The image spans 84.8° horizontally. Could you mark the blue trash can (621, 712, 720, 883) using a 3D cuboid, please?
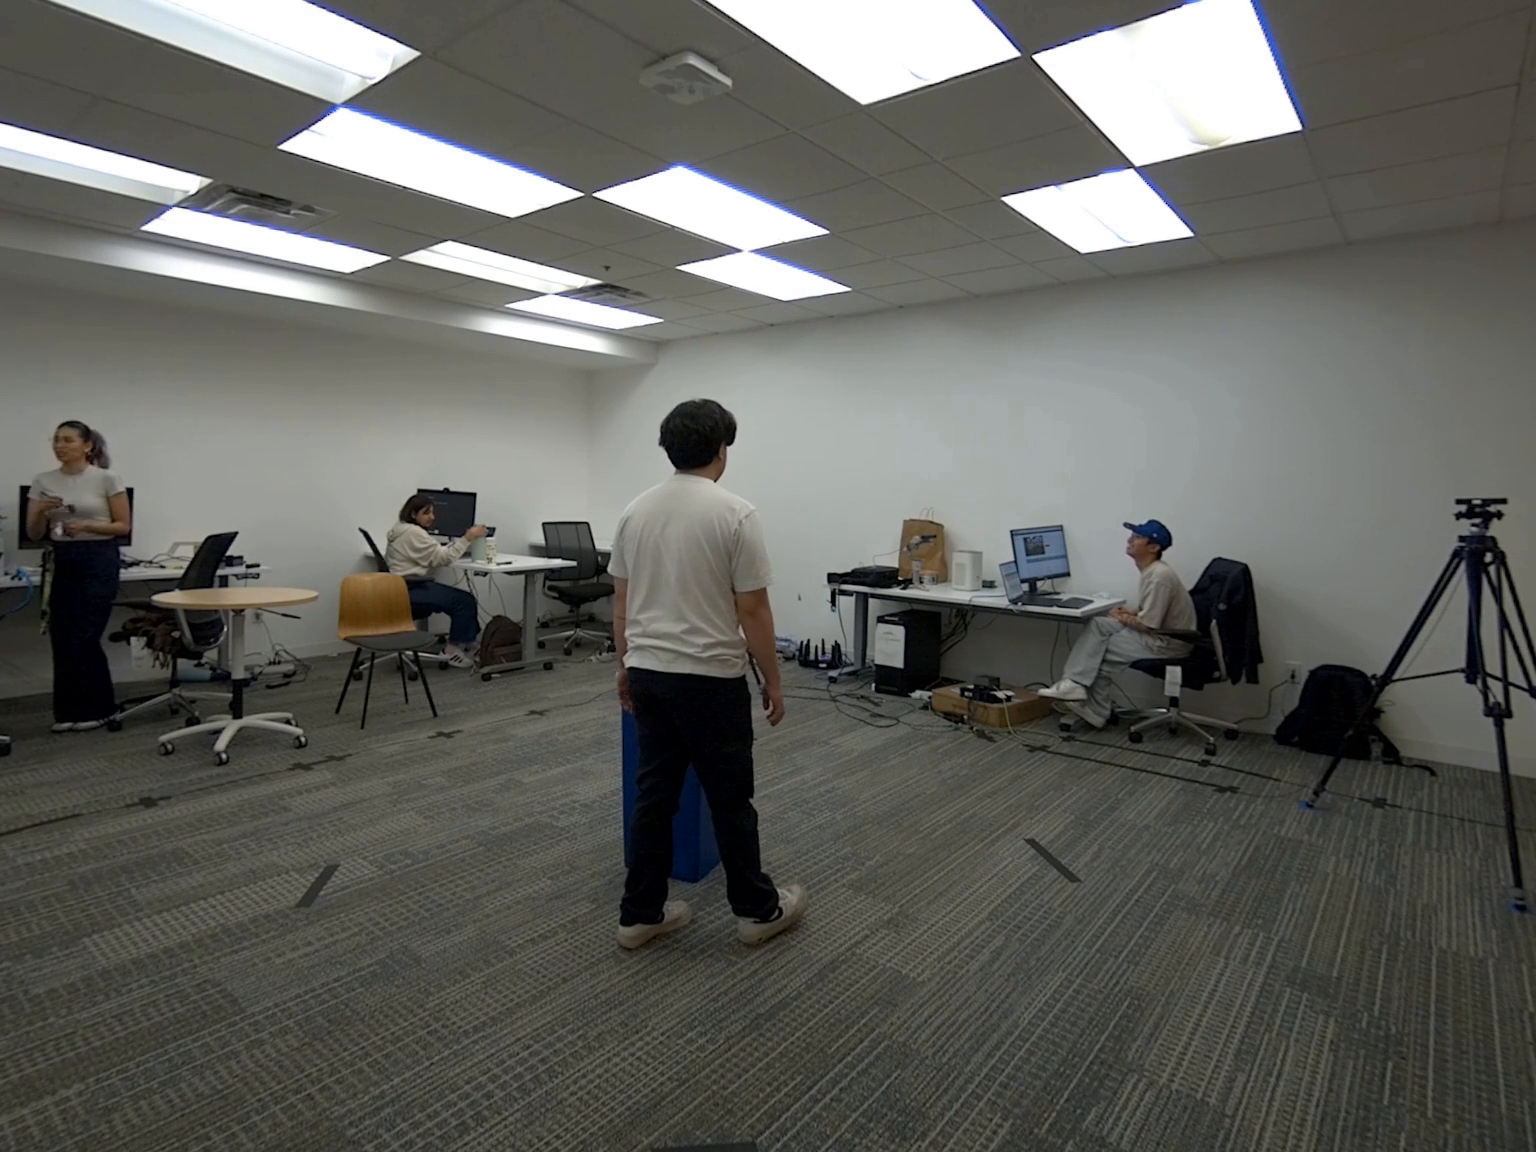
[{"bbox_3d":[-0.337,0.698,3.177,0.387,0.711,0.366,3,4,23],"label":"blue trash can"}]
